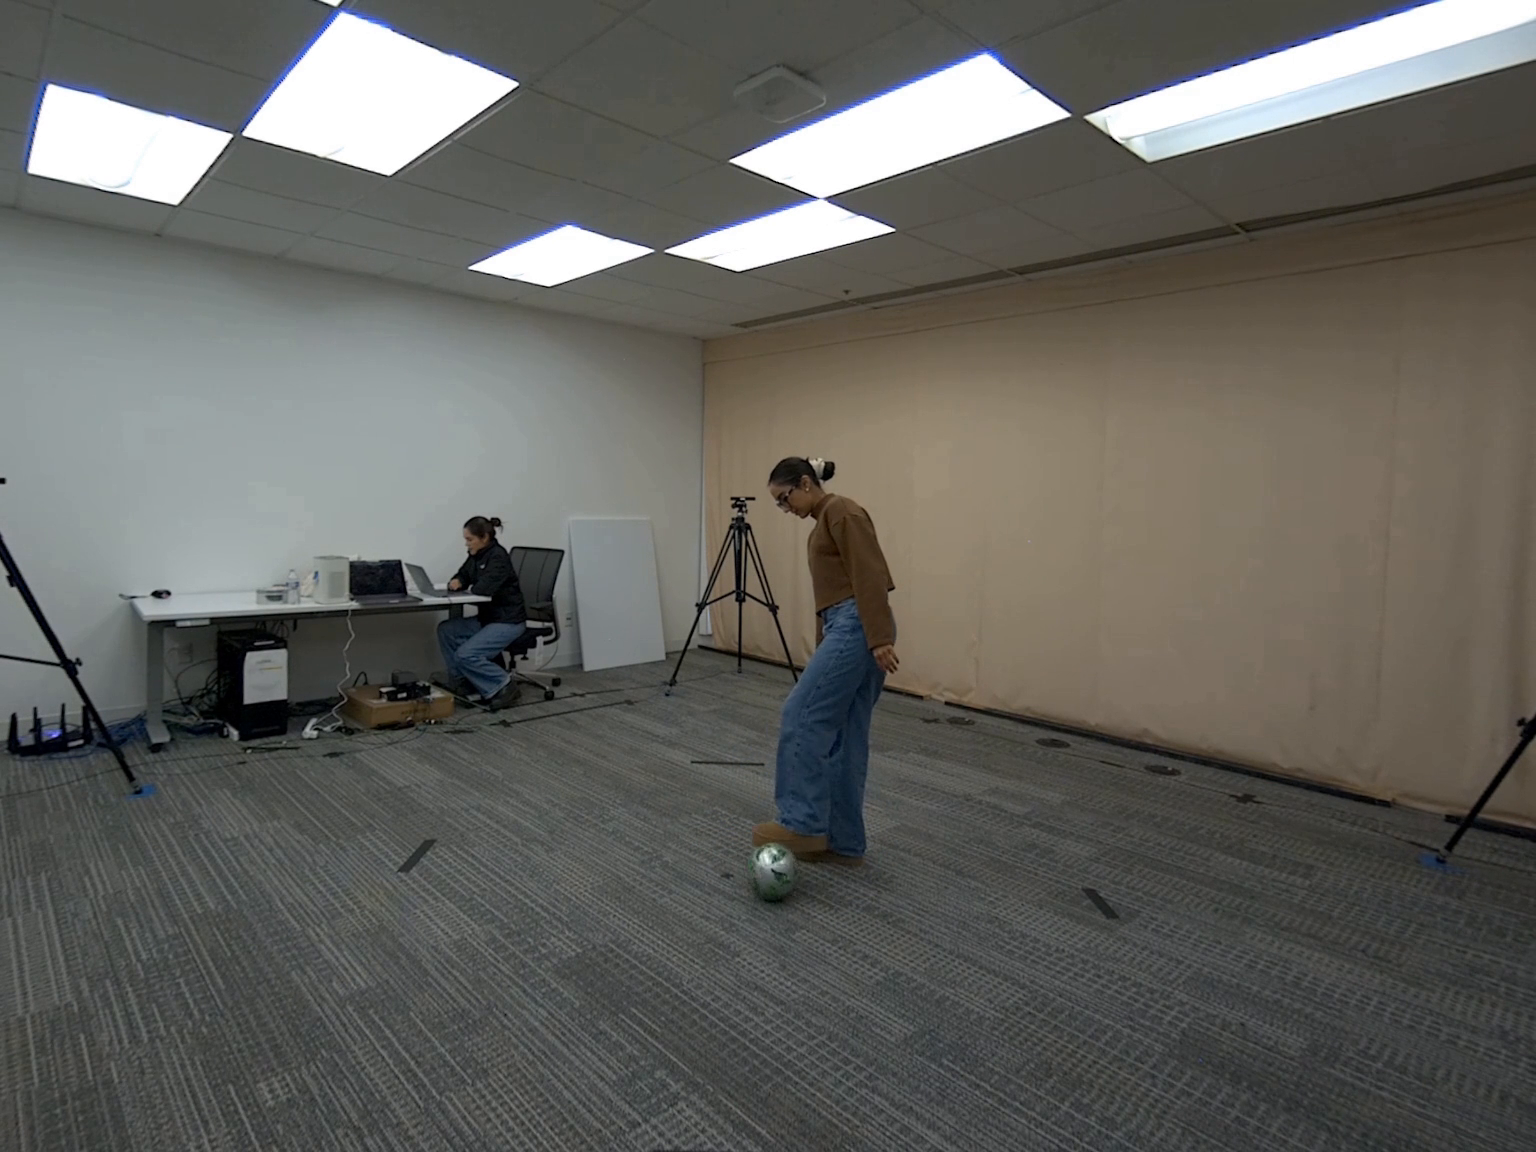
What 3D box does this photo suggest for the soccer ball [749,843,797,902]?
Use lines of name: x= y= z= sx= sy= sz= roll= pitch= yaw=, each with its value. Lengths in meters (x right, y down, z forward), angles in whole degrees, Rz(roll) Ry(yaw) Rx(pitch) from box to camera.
soccer ball: x=0.007 y=1.033 z=2.932 sx=0.187 sy=0.187 sz=0.188 roll=1 pitch=4 yaw=-1
